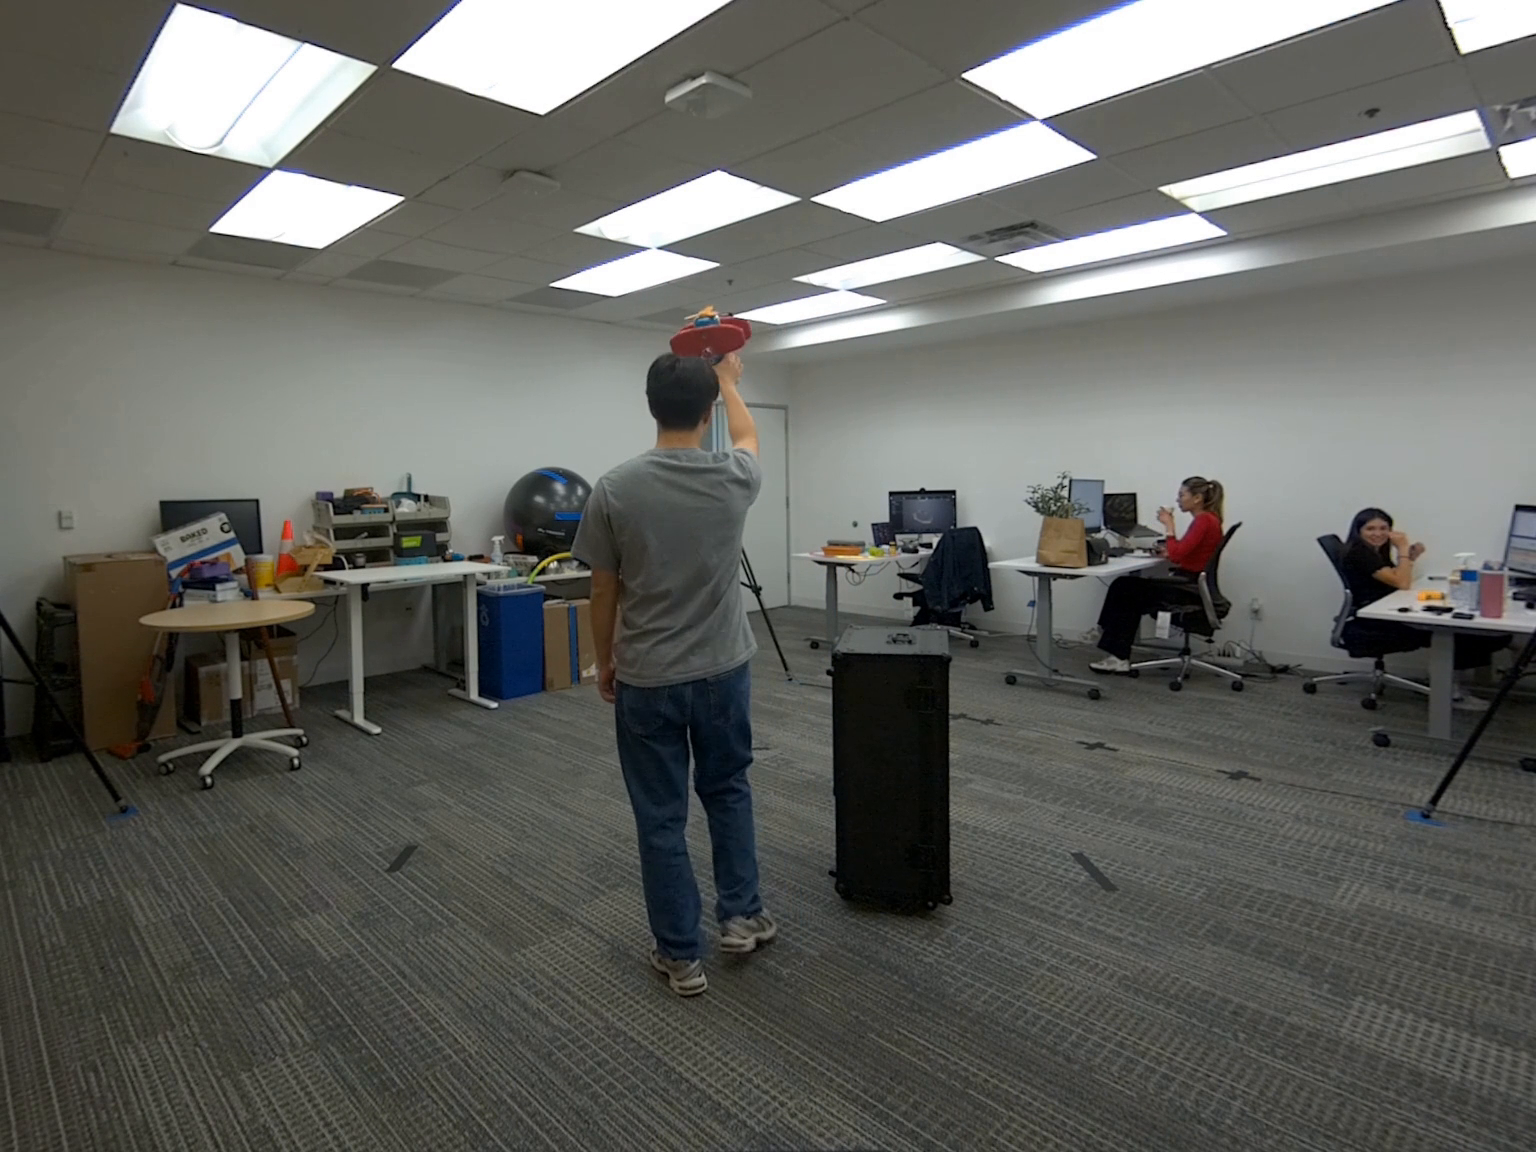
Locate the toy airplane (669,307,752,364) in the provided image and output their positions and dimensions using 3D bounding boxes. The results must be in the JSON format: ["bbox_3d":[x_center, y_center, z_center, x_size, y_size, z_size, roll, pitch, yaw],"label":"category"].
[{"bbox_3d":[-0.151,-0.750,2.799,0.253,0.258,0.156,-33,4,28],"label":"toy airplane"}]
